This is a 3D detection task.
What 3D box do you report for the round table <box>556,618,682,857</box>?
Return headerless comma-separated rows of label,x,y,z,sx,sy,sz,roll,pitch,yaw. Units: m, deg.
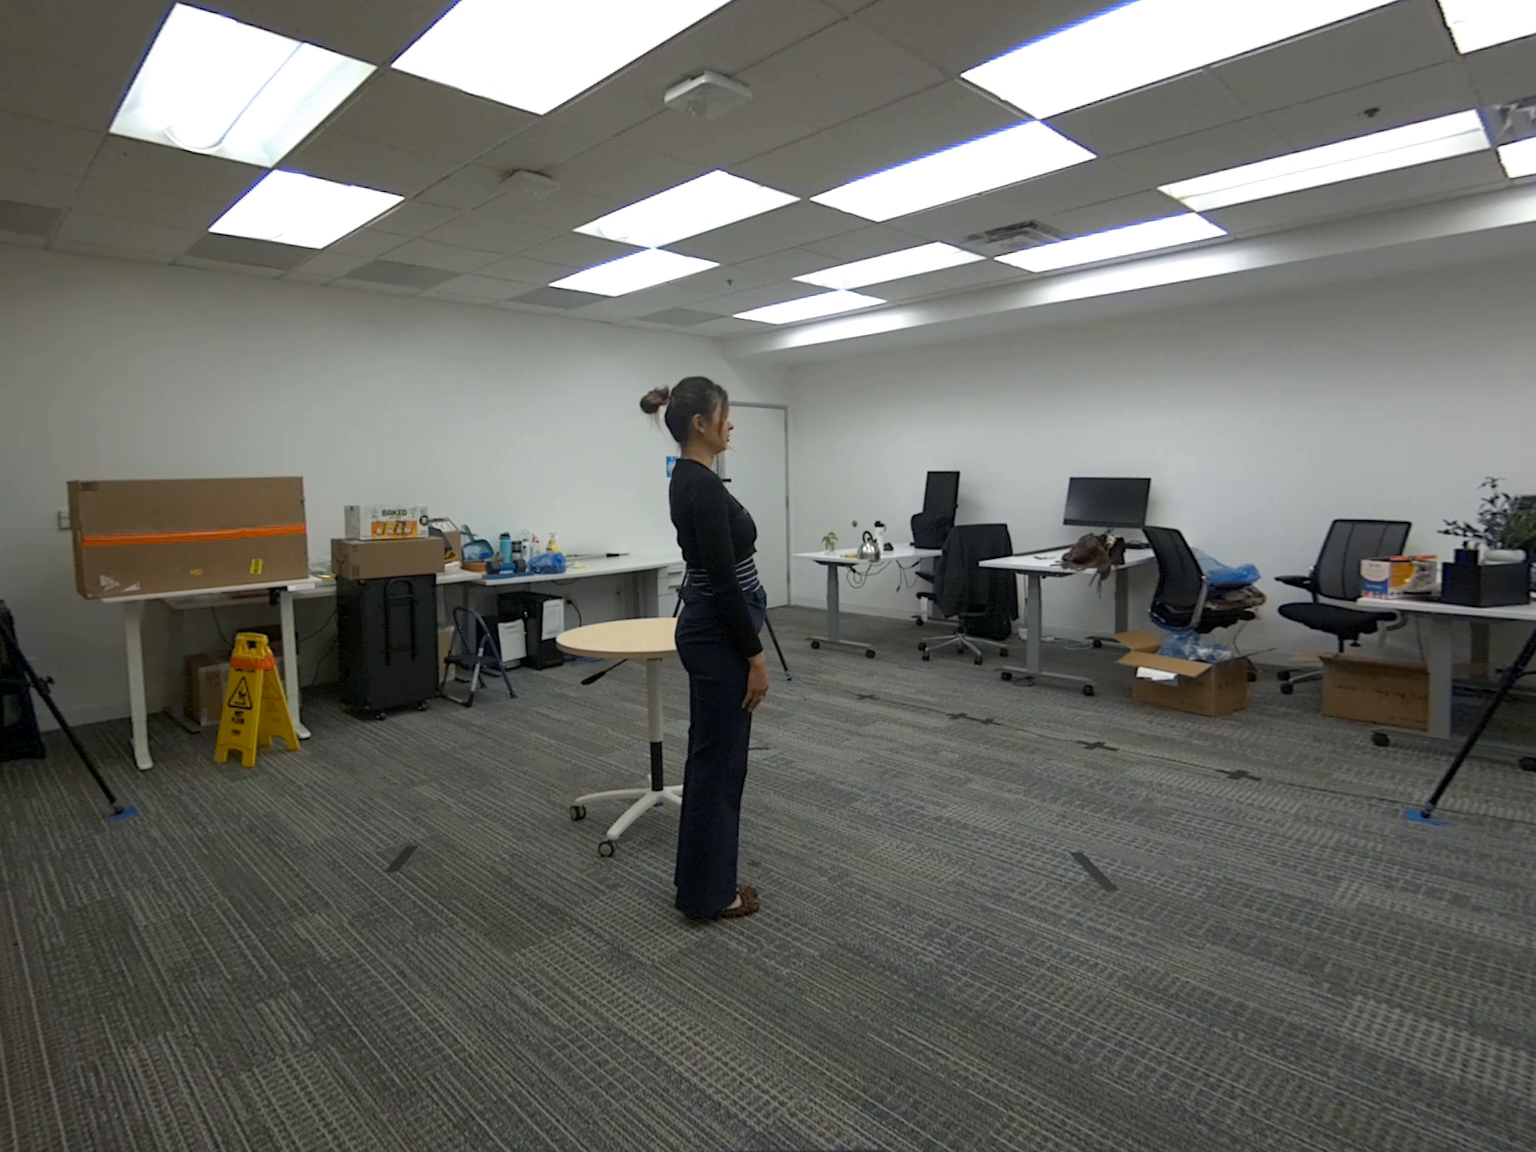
round table,-0.461,0.623,3.460,0.763,0.791,0.767,-2,4,-2
